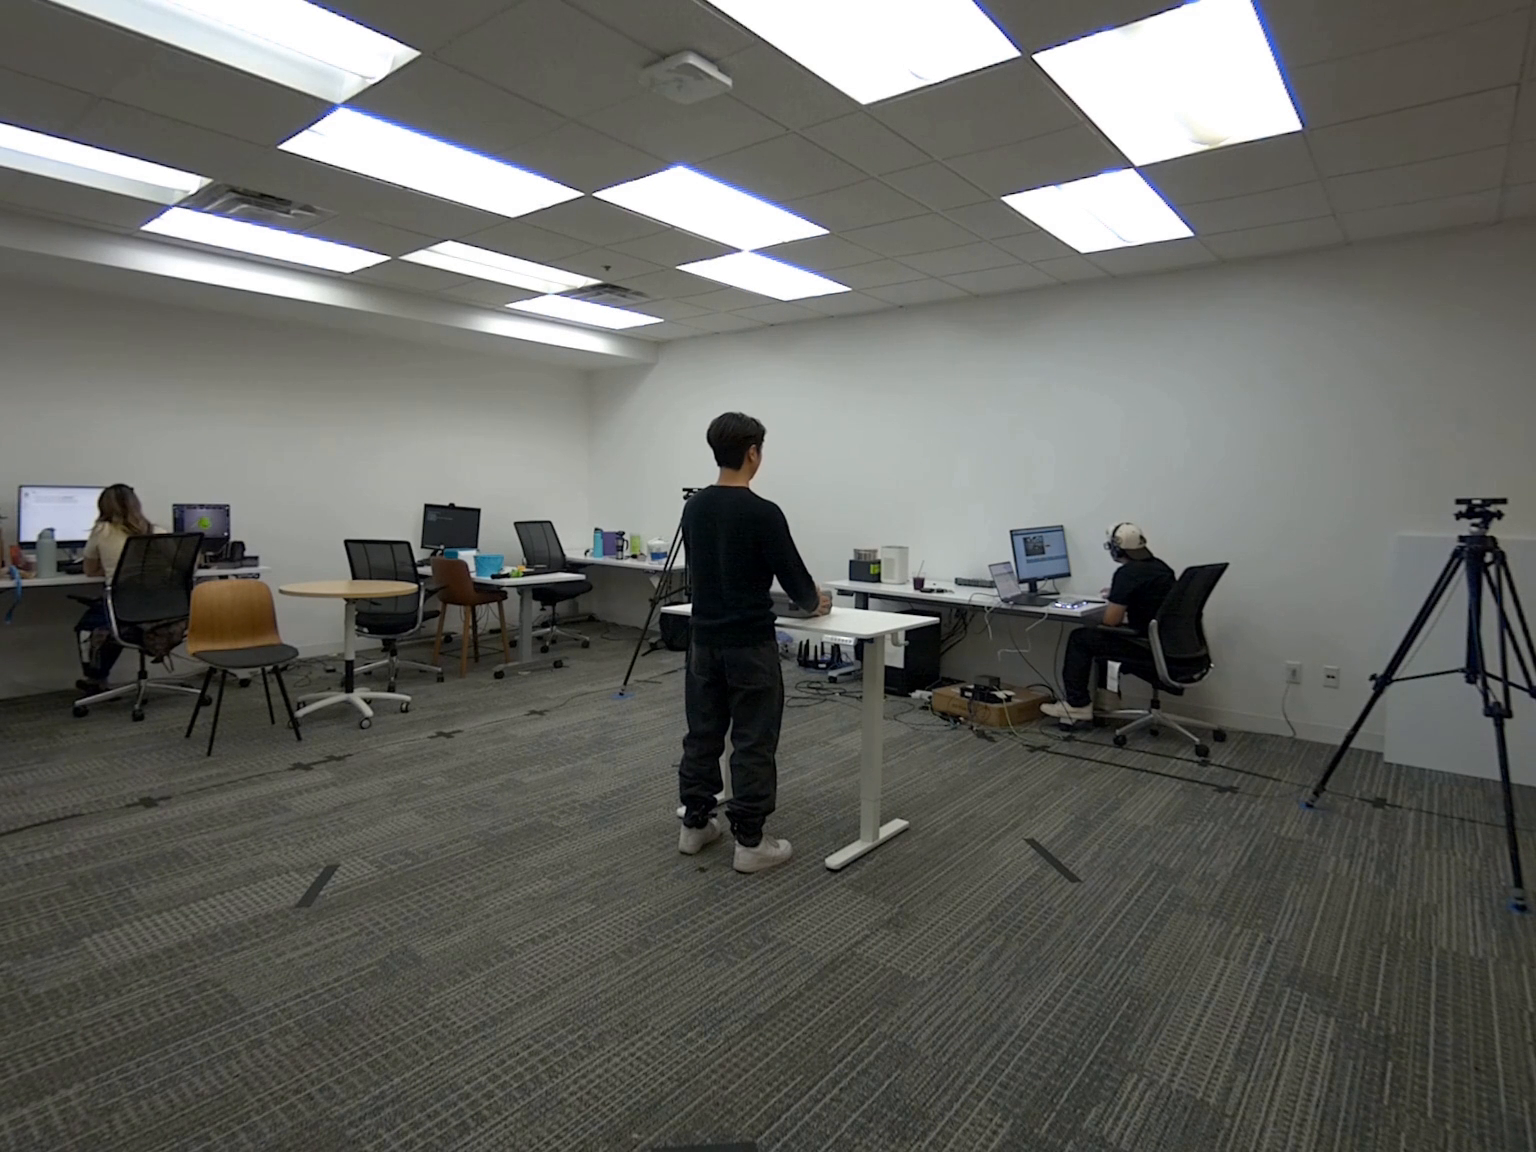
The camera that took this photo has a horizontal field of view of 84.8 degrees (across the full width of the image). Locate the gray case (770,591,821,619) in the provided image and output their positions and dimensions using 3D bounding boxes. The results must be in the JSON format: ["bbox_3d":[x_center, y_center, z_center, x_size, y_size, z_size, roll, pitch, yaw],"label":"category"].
[{"bbox_3d":[0.099,0.100,3.522,0.265,0.104,0.253,2,3,35],"label":"gray case"}]
